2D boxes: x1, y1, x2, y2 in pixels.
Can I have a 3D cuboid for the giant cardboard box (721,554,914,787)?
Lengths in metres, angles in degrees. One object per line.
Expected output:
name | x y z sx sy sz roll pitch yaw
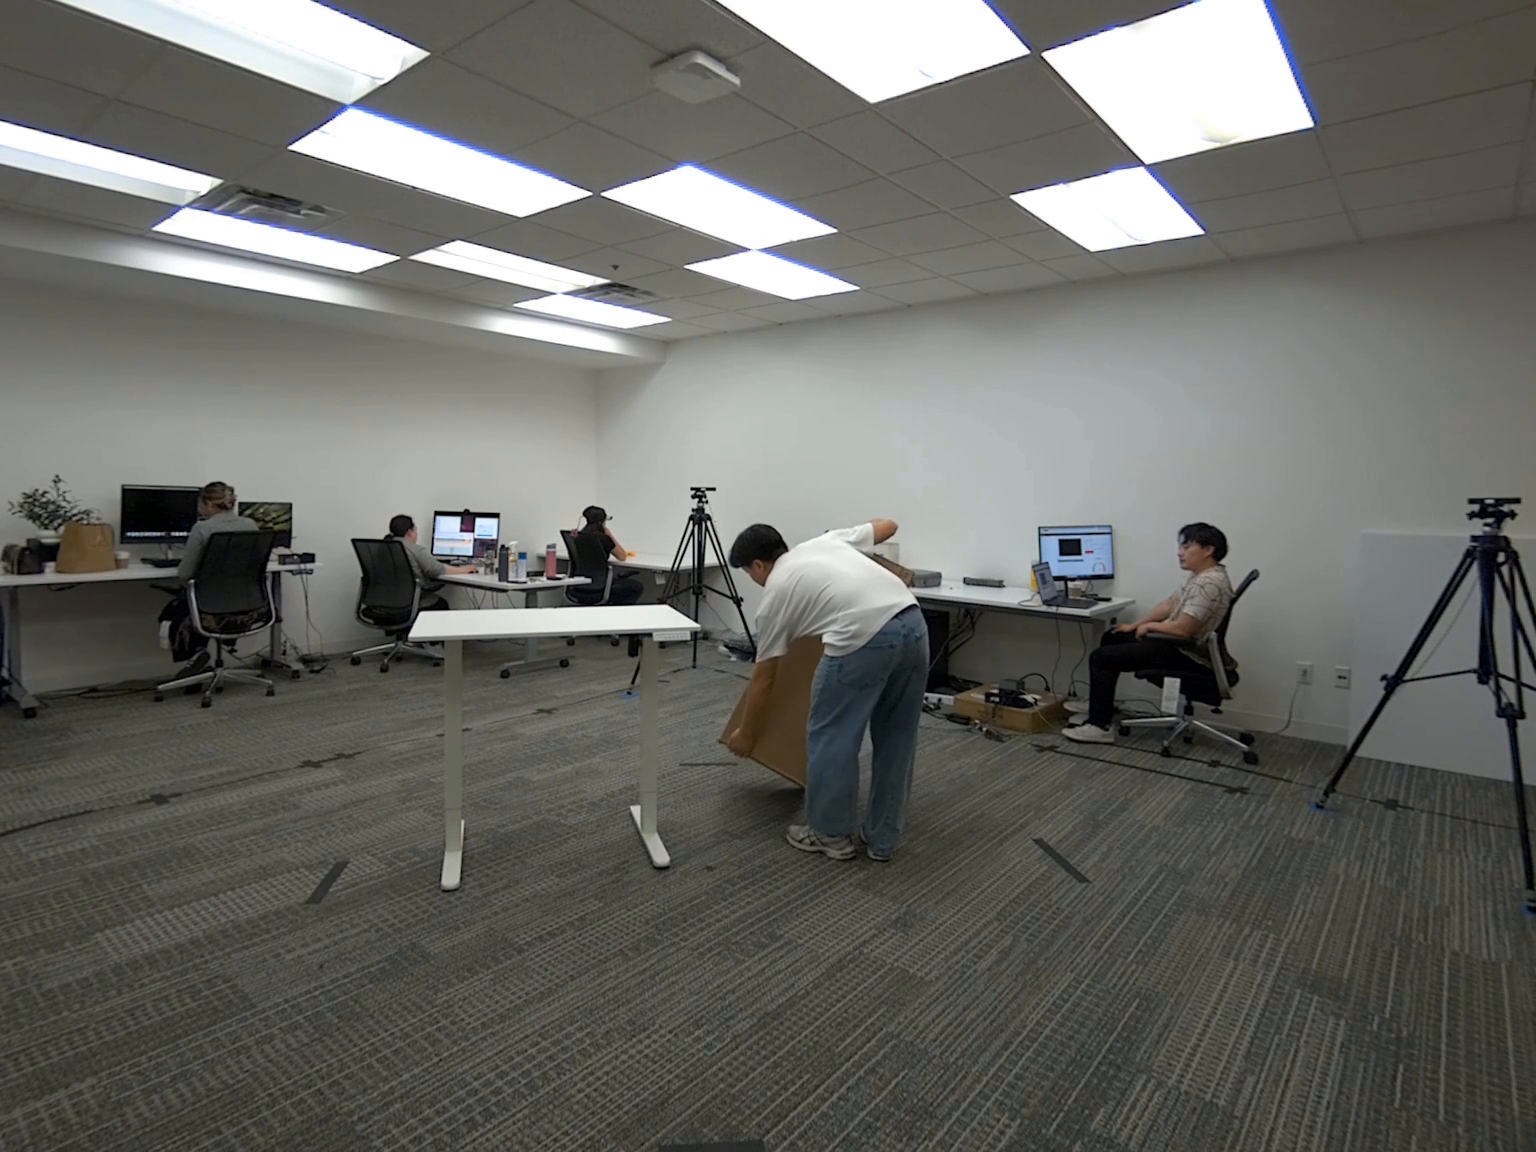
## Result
giant cardboard box | 0.211 0.384 3.831 0.432 1.030 0.567 26 -11 8
